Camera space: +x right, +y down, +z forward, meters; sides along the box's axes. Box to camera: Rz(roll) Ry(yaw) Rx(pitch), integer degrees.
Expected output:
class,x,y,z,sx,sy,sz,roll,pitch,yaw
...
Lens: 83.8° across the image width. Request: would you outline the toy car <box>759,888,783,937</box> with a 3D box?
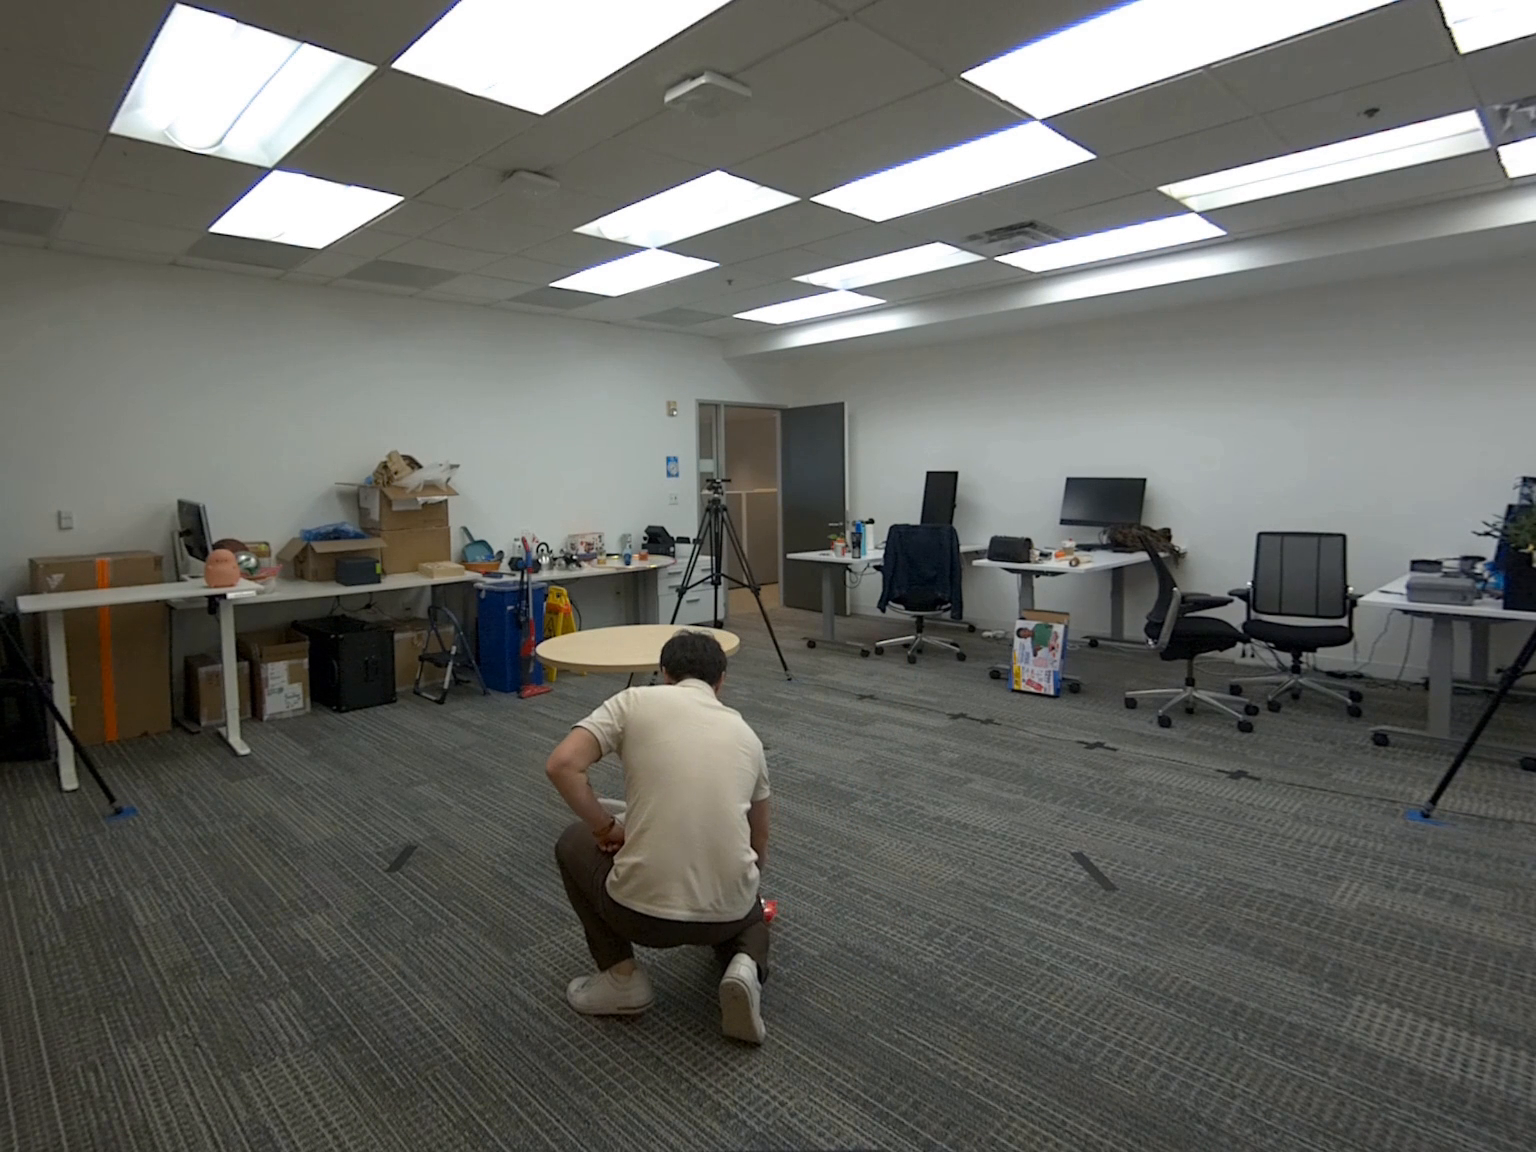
class,x,y,z,sx,sy,sz,roll,pitch,yaw
toy car,-0.089,1.064,2.685,0.256,0.083,0.130,-9,4,6
